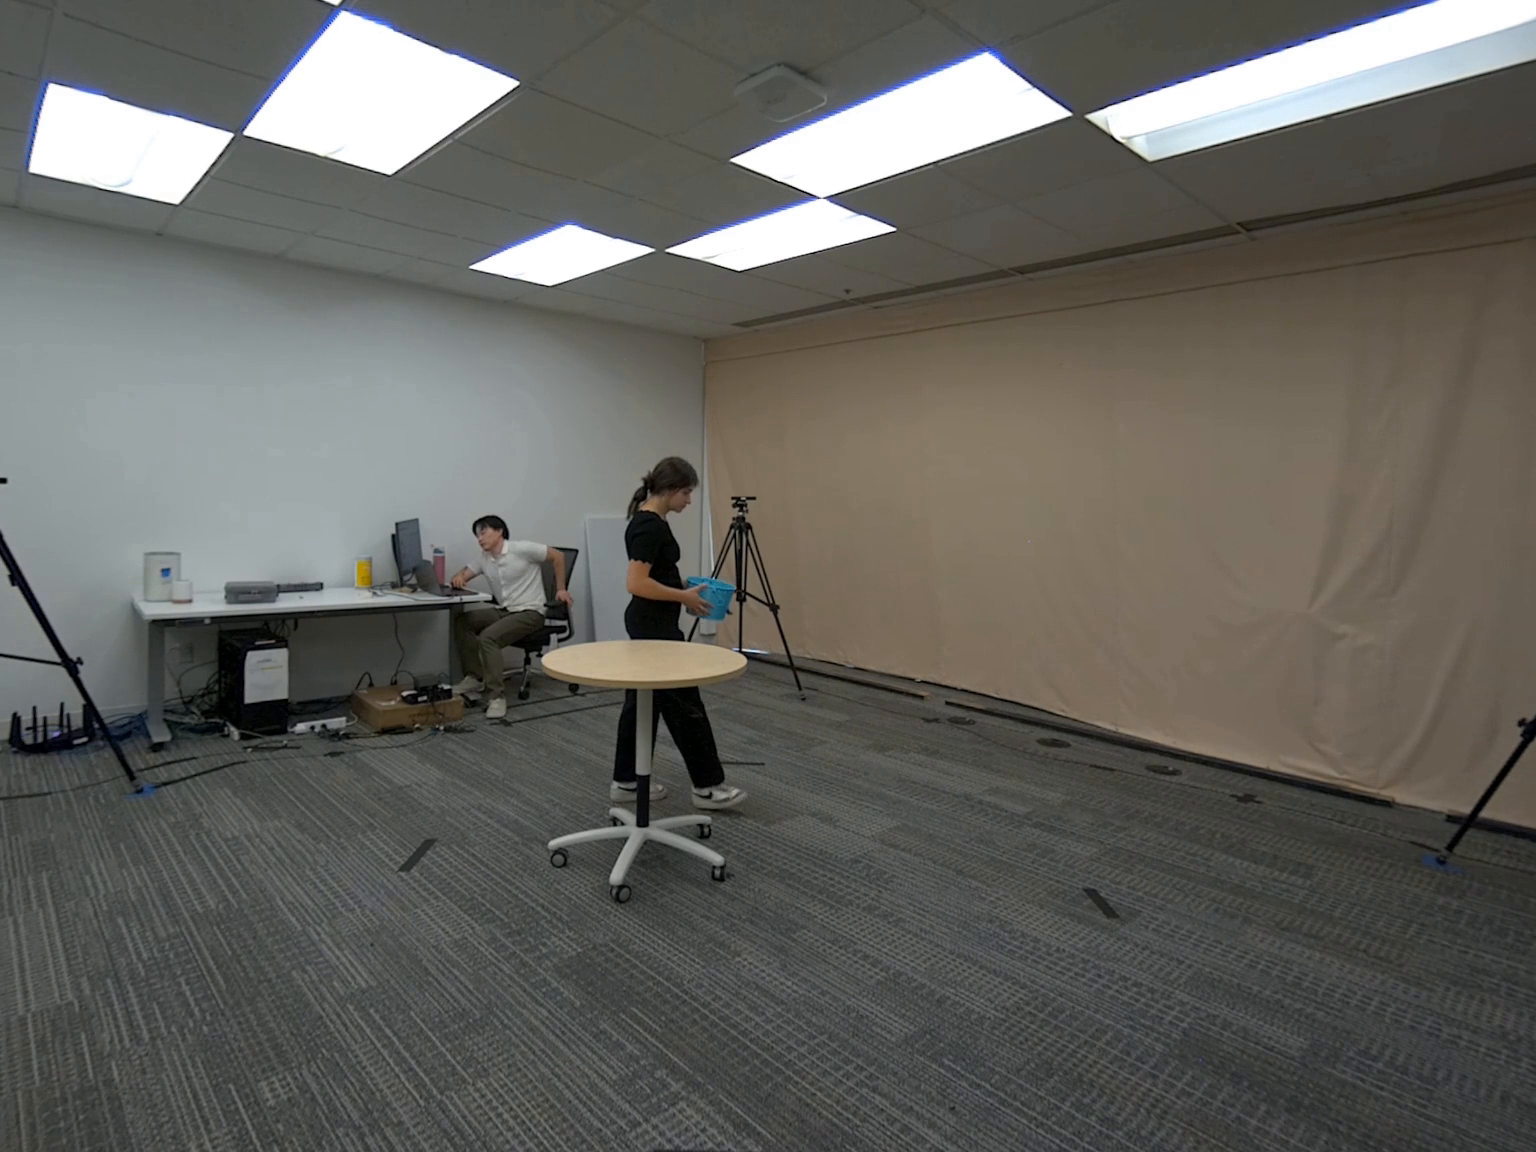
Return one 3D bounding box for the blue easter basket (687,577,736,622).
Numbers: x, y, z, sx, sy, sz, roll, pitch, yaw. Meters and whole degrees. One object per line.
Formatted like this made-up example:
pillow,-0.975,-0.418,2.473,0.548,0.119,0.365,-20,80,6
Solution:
blue easter basket,-0.284,0.104,3.838,0.243,0.155,0.245,9,8,-3
